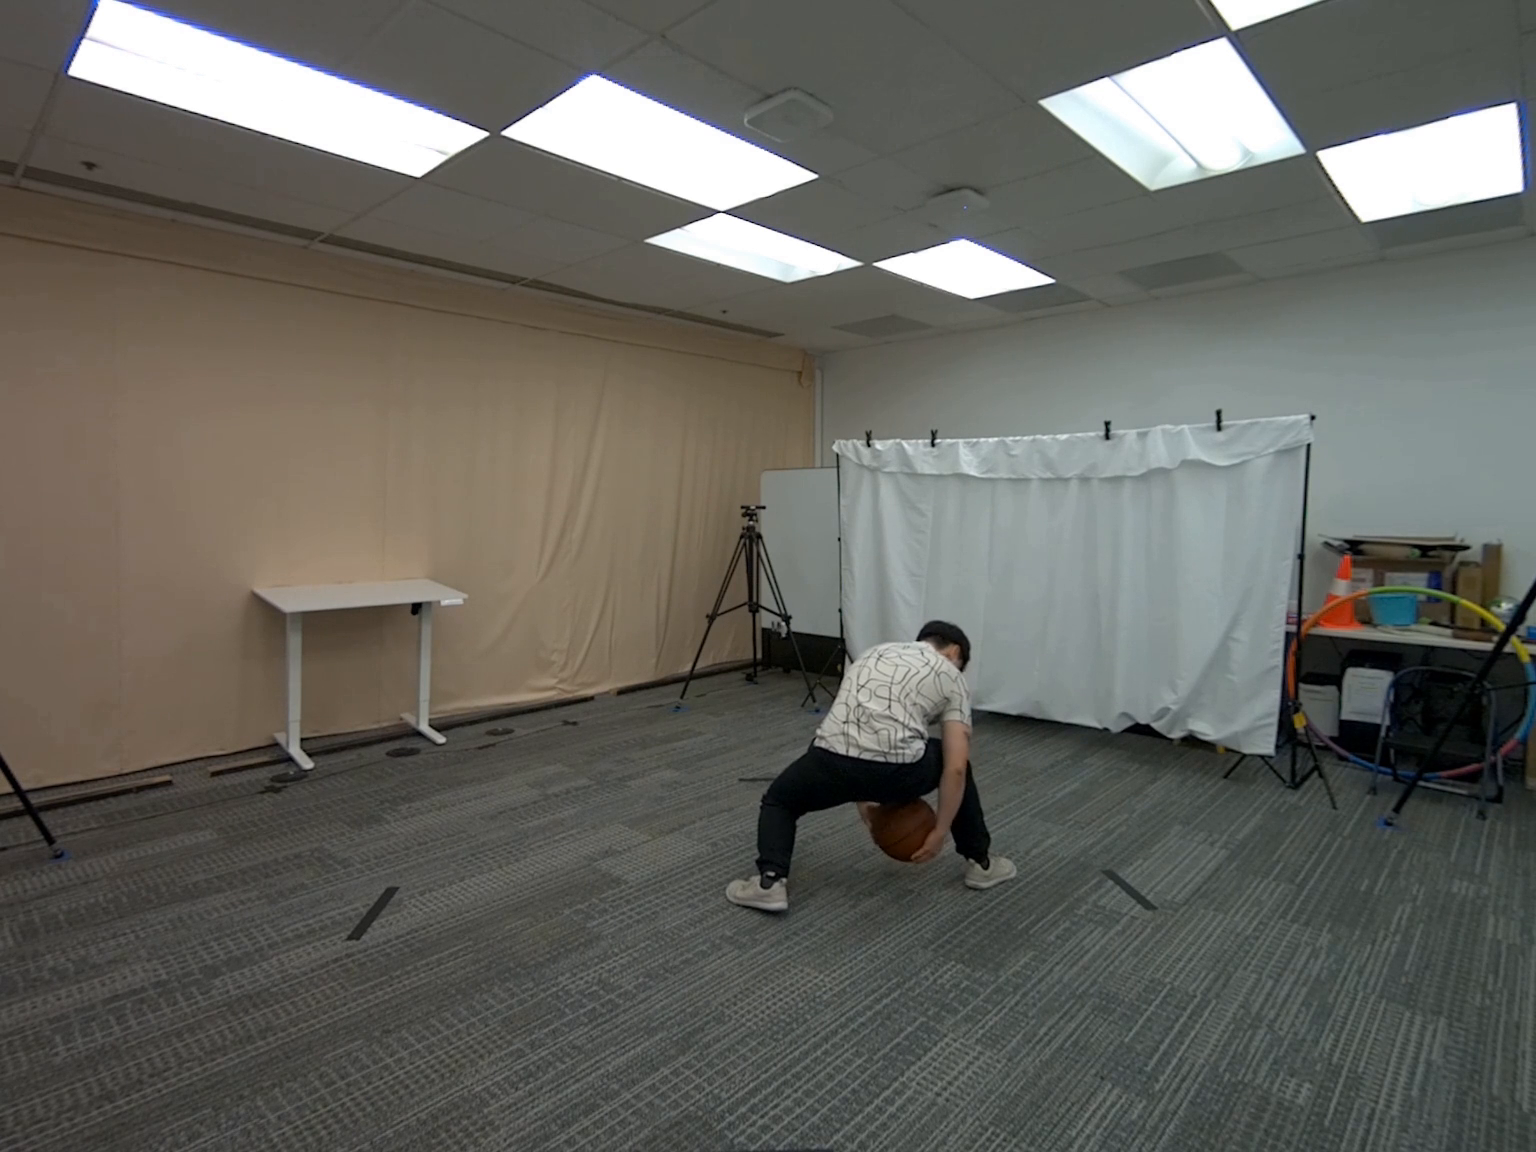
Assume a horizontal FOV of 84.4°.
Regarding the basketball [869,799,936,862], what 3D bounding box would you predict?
[{"bbox_3d":[0.516,0.904,3.061,0.236,0.235,0.237,0,4,-2],"label":"basketball"}]
